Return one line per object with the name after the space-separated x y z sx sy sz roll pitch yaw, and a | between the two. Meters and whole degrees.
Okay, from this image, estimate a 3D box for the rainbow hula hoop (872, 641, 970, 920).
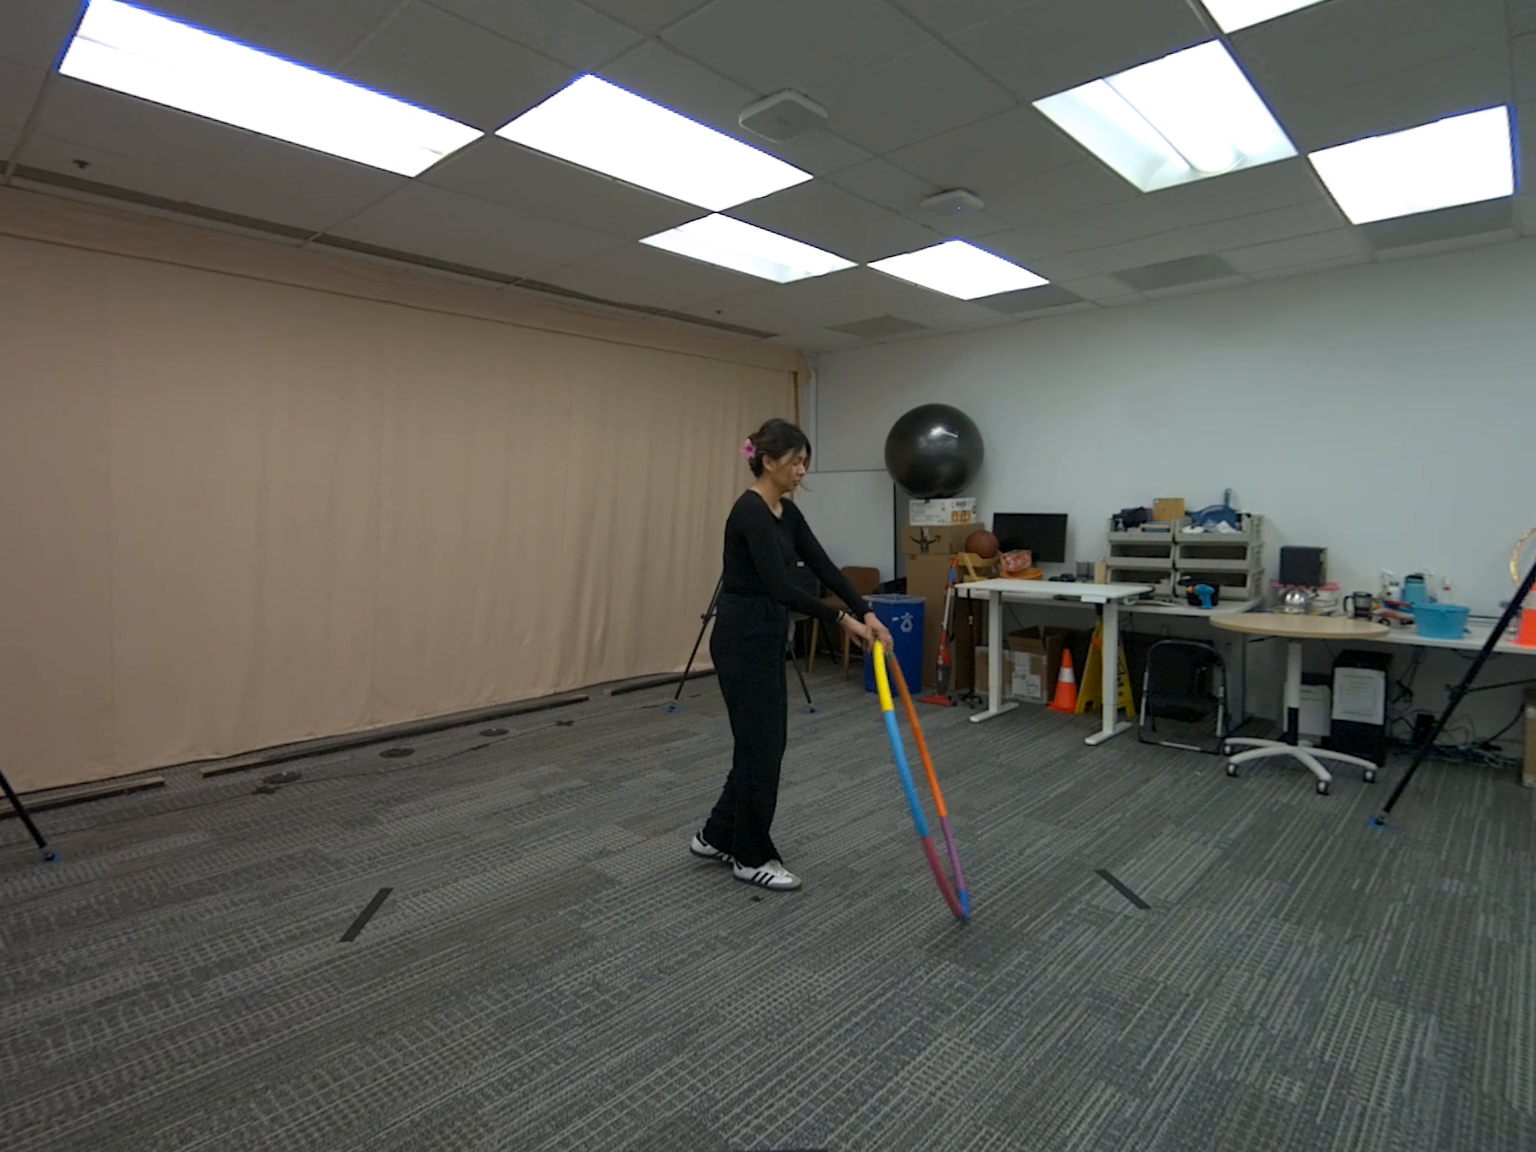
0.543 0.678 2.952 0.036 0.980 0.968 -19 0 11 | rainbow hula hoop
